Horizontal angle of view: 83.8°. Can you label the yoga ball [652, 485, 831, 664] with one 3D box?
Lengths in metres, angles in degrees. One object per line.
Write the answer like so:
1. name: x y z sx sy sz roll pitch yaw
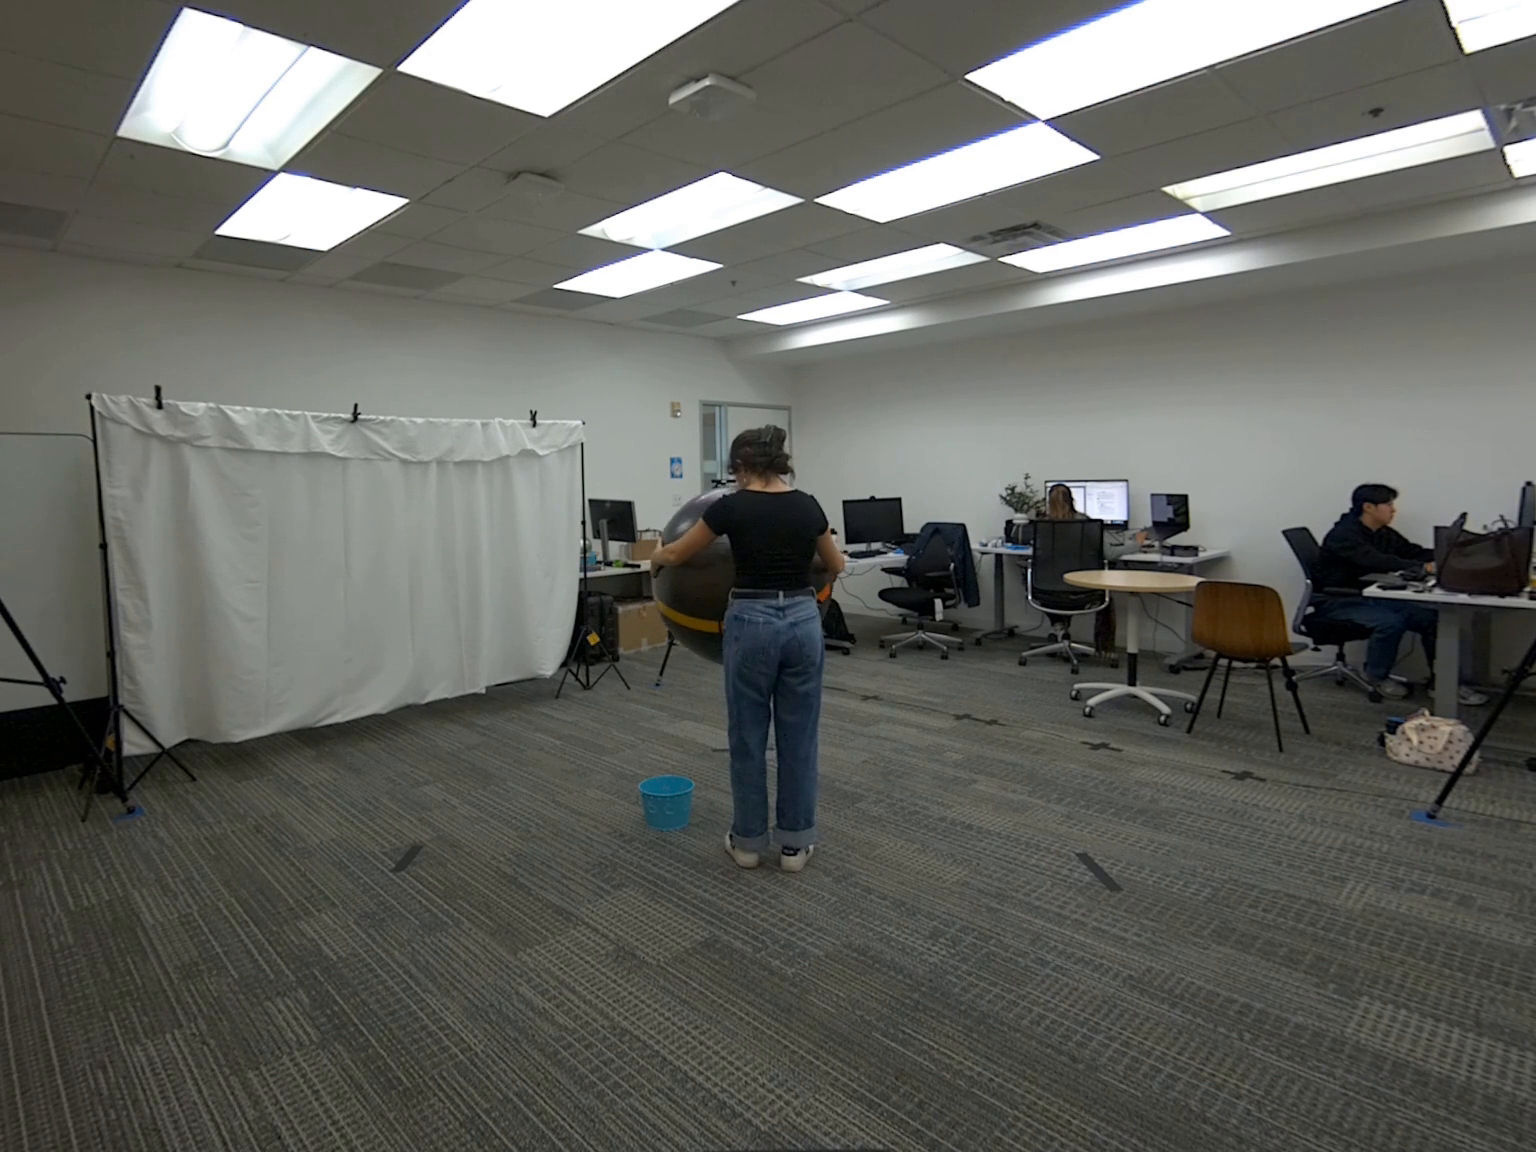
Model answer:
1. yoga ball: -0.108 0.002 3.560 0.757 0.755 0.762 -1 5 -2
